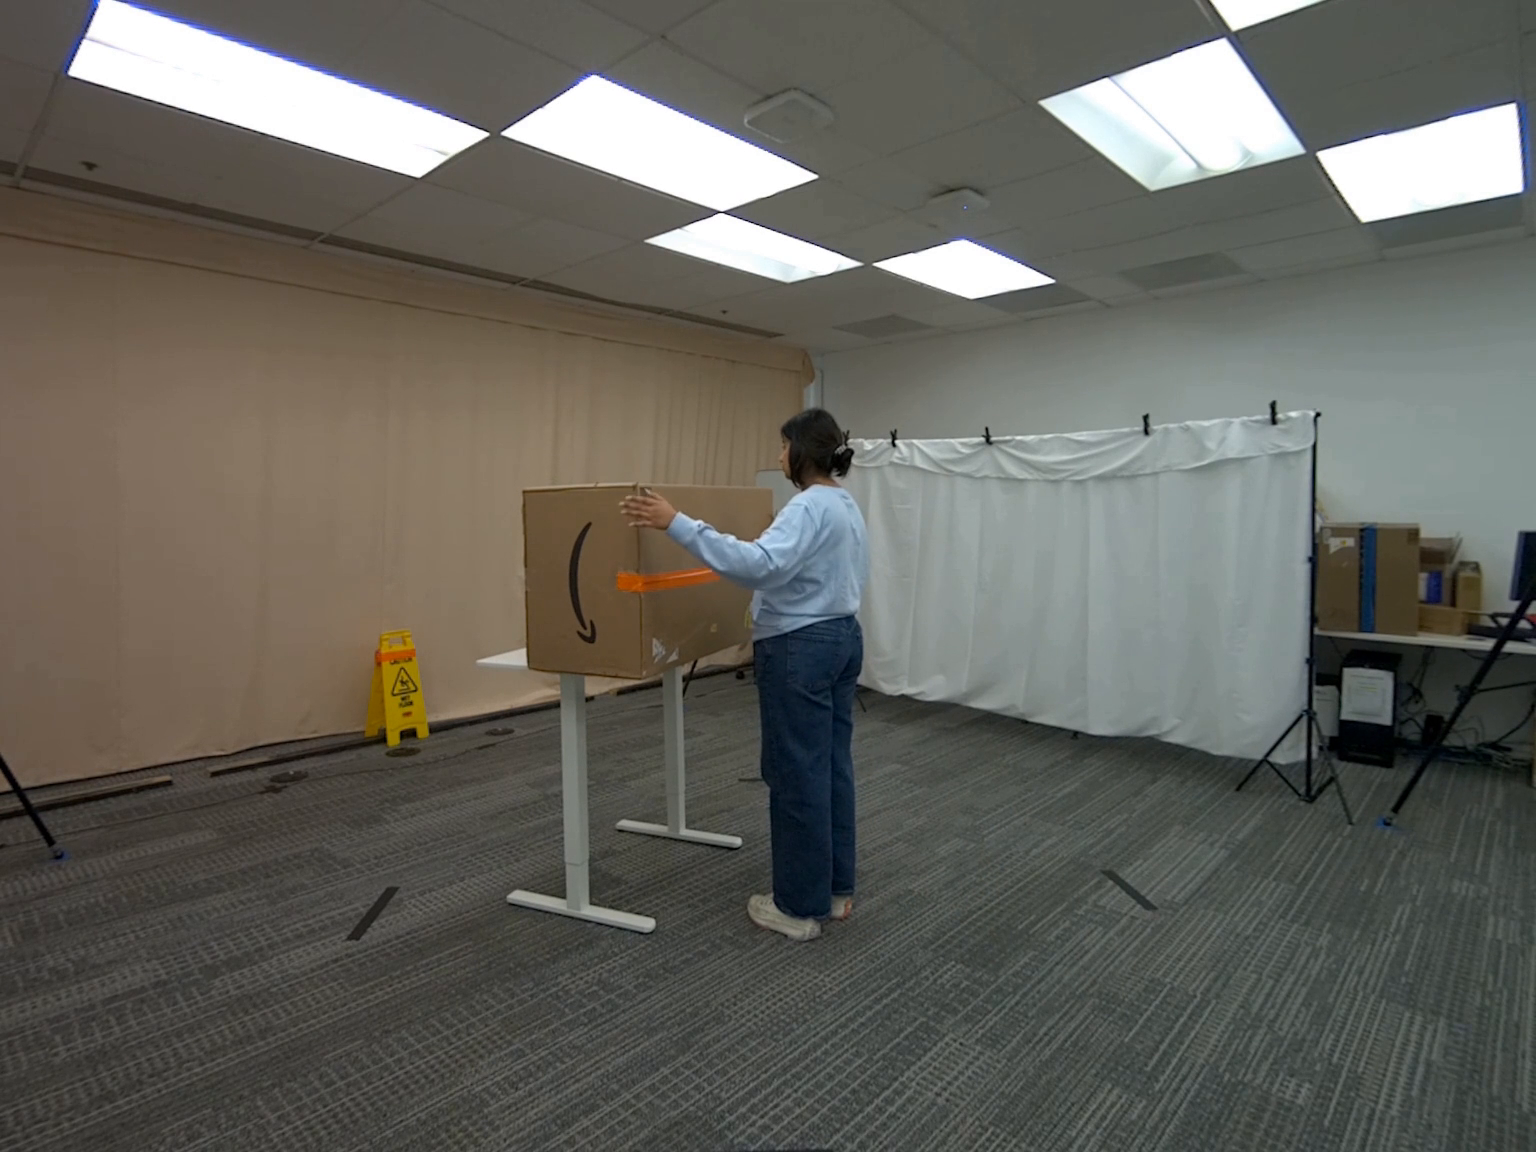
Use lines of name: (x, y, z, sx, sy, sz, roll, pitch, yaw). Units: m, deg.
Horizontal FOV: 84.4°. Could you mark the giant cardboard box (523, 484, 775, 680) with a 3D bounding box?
giant cardboard box: (-0.369, -0.024, 3.004, 0.437, 0.576, 1.003, 1, 5, 24)
